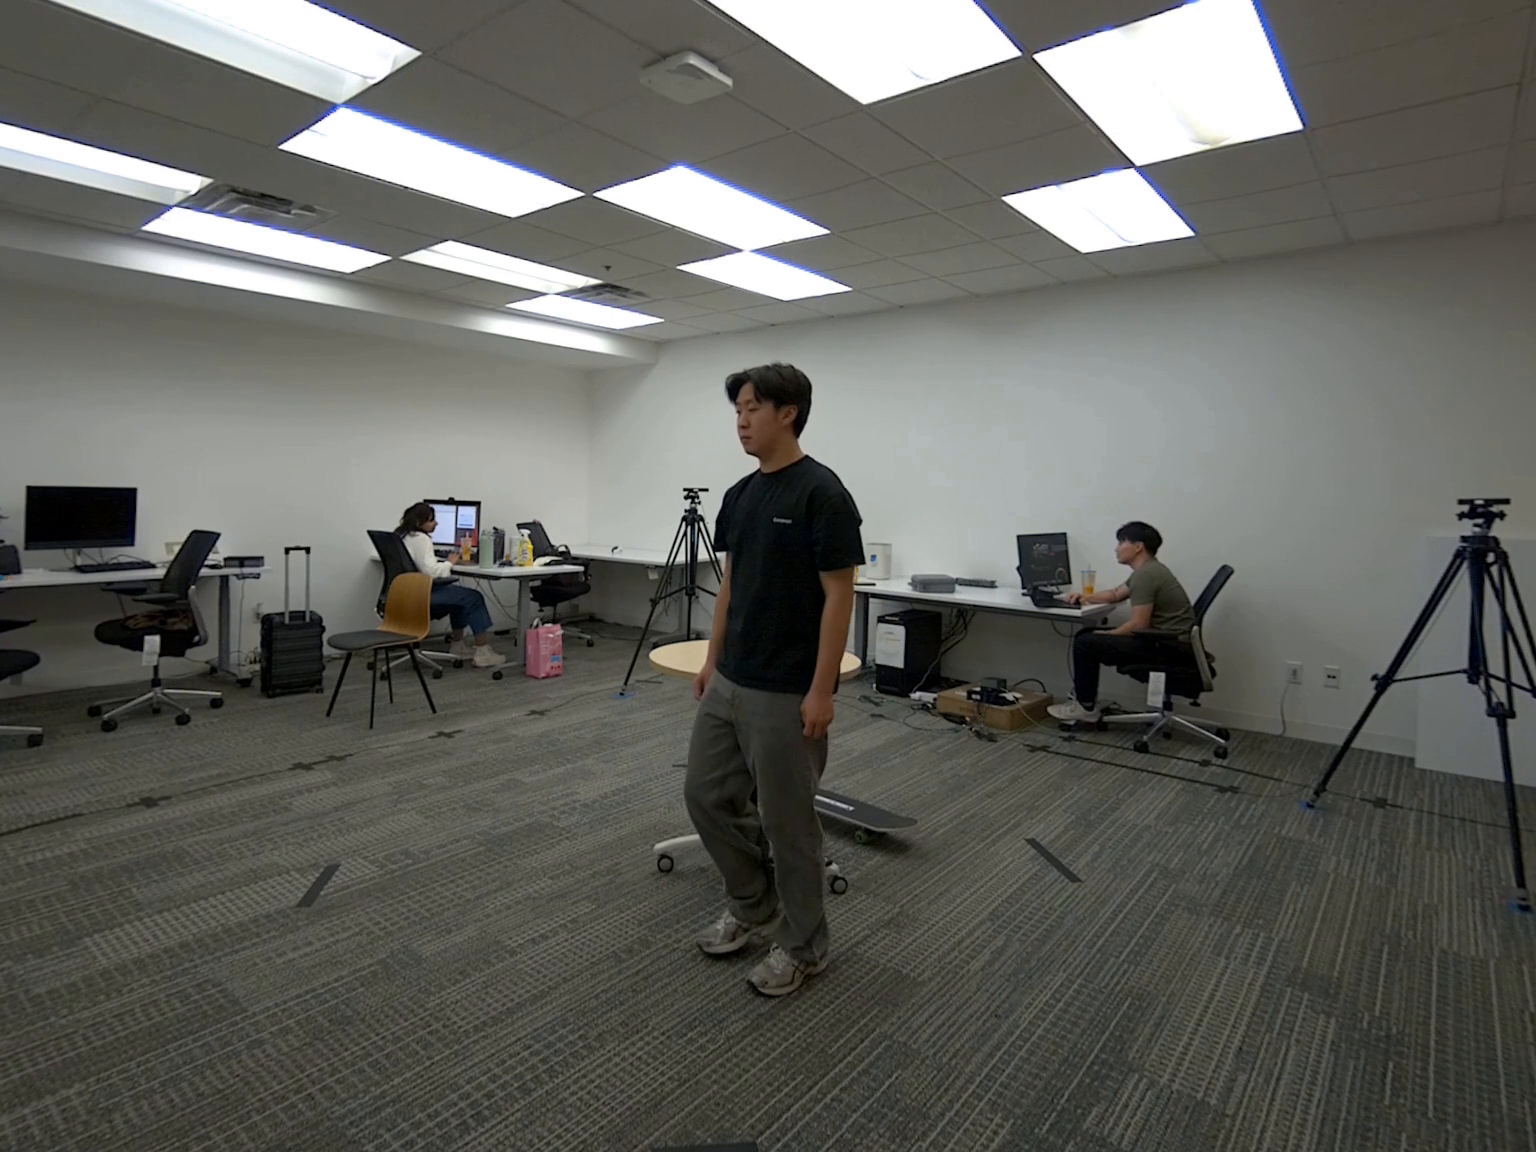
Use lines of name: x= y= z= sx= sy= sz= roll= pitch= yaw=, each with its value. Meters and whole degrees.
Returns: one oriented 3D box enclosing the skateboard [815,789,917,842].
skateboard: x=0.263 y=0.978 z=3.568 sx=0.813 sy=0.110 sz=0.188 roll=7 pitch=8 yaw=42
